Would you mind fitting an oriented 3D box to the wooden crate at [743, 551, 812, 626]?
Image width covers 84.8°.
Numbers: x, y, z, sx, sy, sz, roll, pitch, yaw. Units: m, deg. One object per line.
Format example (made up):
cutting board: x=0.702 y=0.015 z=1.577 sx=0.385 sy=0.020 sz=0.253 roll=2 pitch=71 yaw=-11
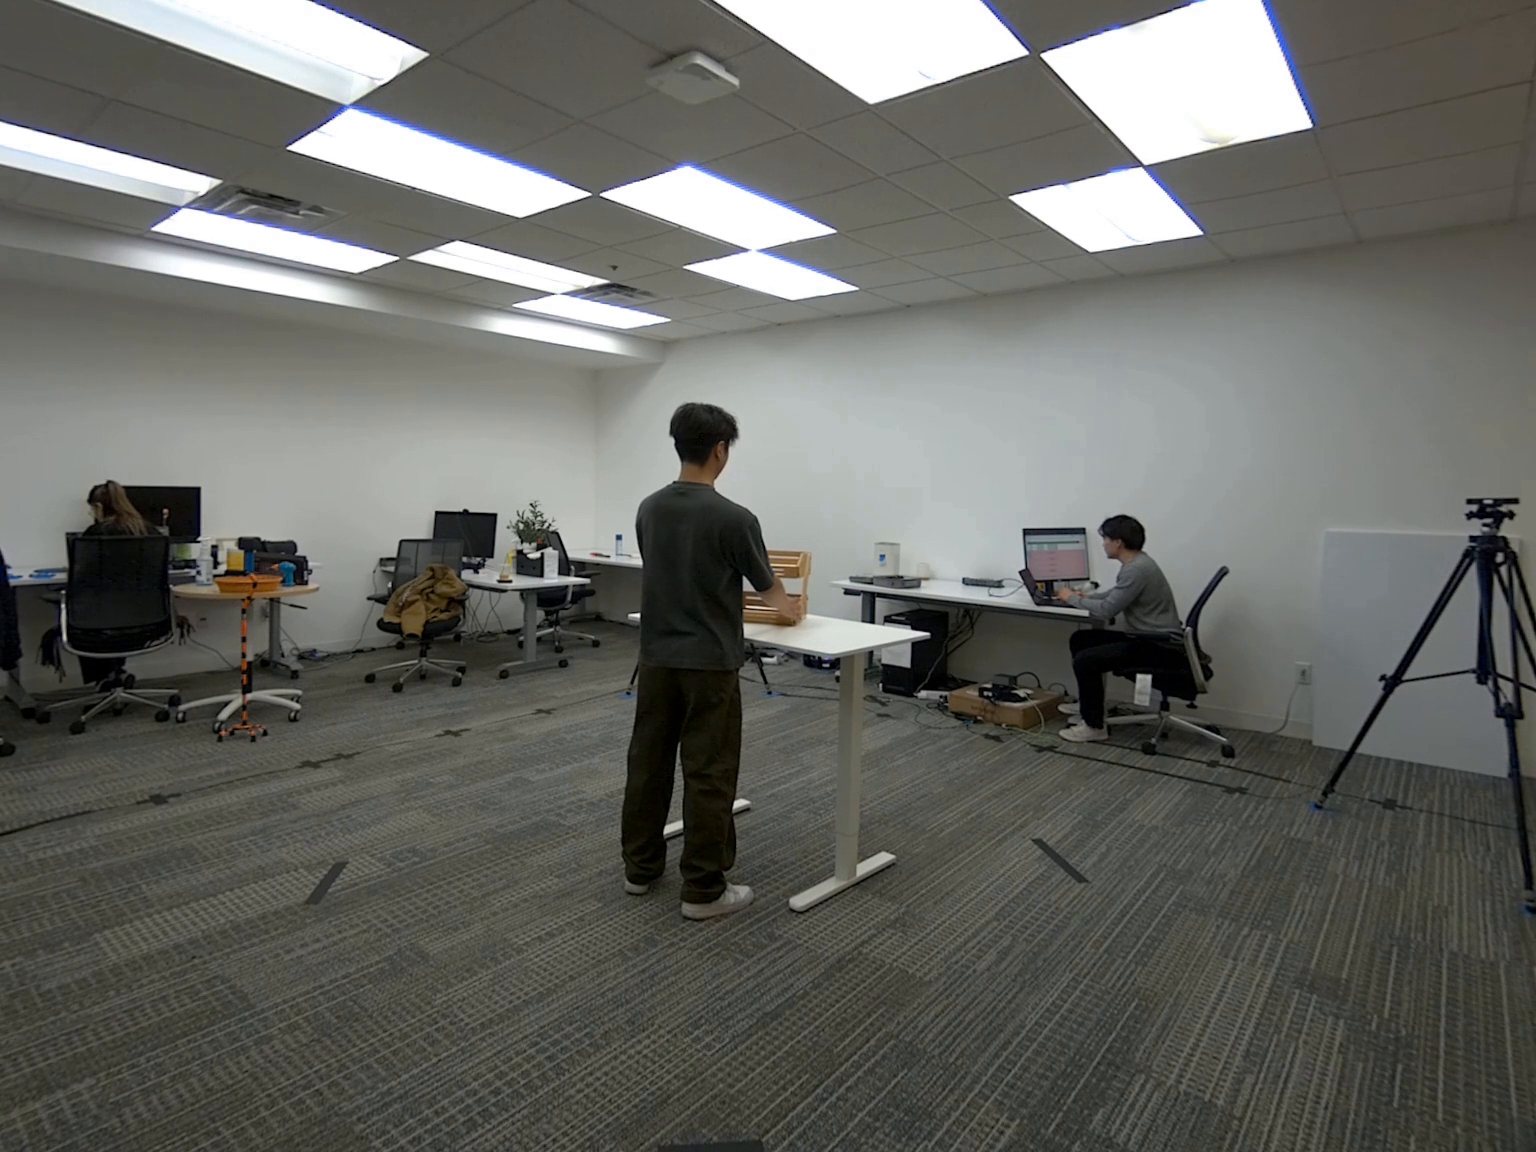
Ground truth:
wooden crate: x=-0.019 y=0.032 z=3.344 sx=0.331 sy=0.272 sz=0.298 roll=3 pitch=5 yaw=17
